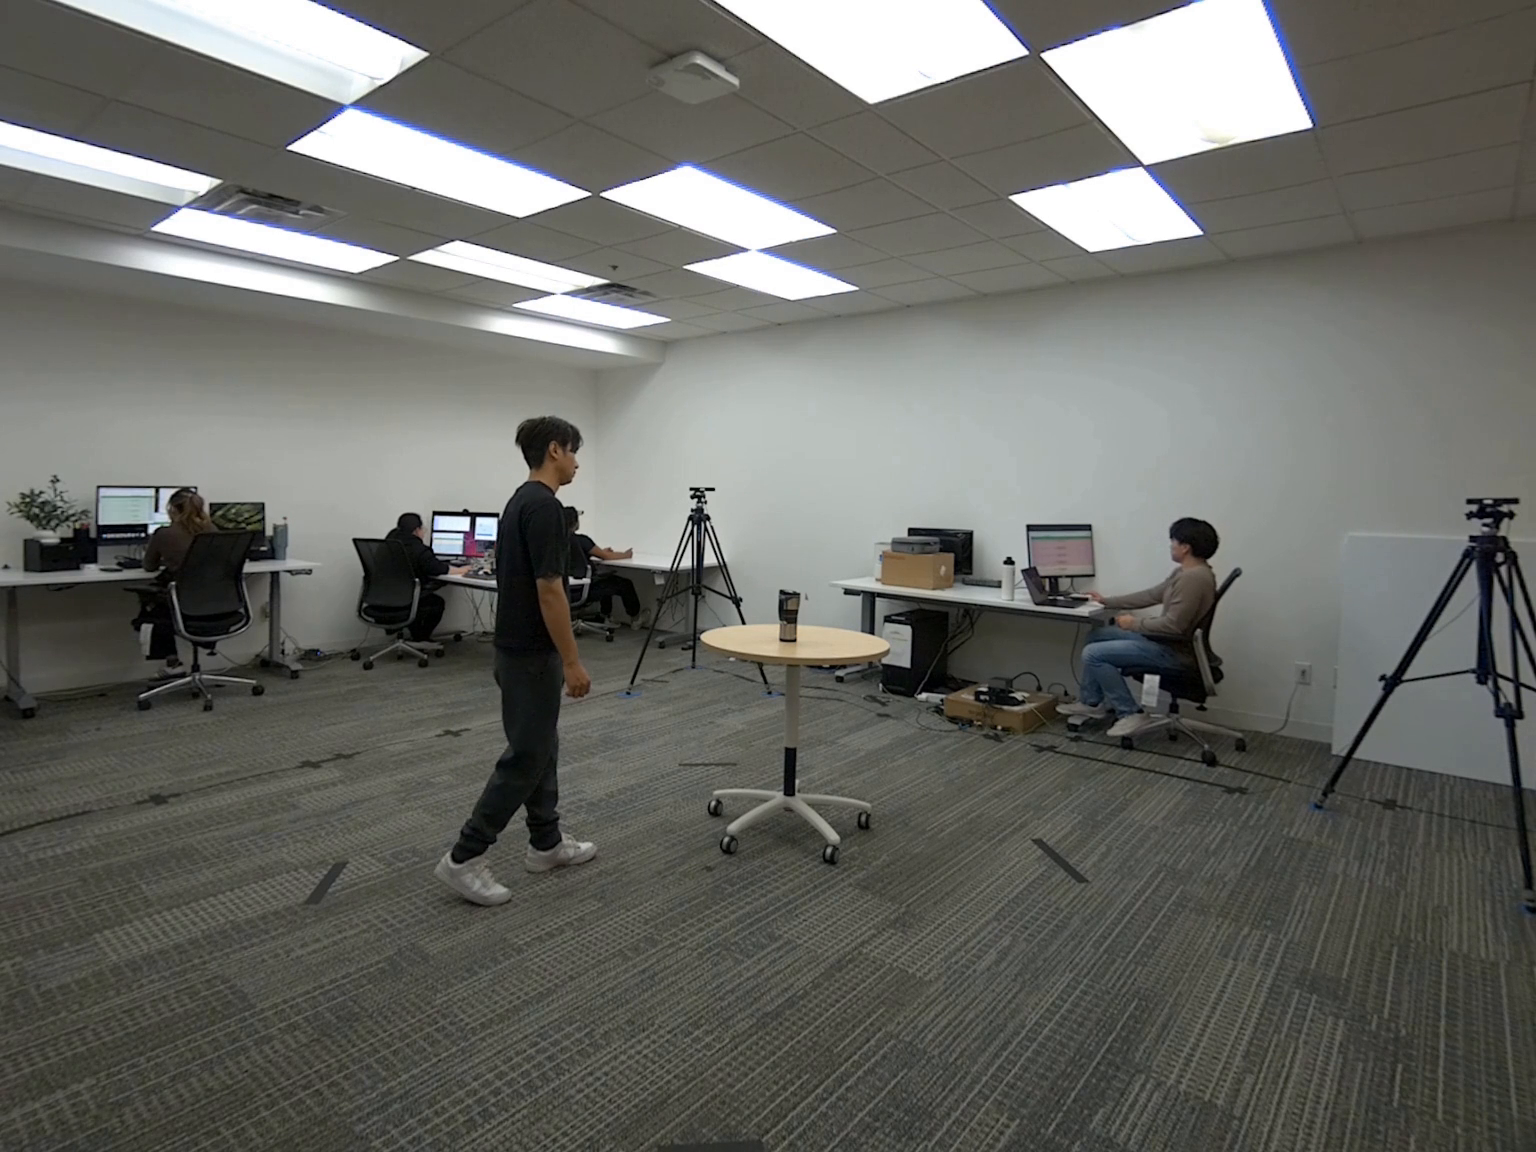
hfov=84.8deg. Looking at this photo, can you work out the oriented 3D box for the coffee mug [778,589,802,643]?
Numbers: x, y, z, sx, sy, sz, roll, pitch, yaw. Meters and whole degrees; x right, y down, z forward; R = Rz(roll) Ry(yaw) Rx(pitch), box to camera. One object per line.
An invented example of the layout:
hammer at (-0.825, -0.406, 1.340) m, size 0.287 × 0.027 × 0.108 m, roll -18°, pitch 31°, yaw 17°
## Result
coffee mug at (0.056, 0.161, 3.410) m, size 0.118 × 0.202 × 0.091 m, roll 2°, pitch 6°, yaw -38°
